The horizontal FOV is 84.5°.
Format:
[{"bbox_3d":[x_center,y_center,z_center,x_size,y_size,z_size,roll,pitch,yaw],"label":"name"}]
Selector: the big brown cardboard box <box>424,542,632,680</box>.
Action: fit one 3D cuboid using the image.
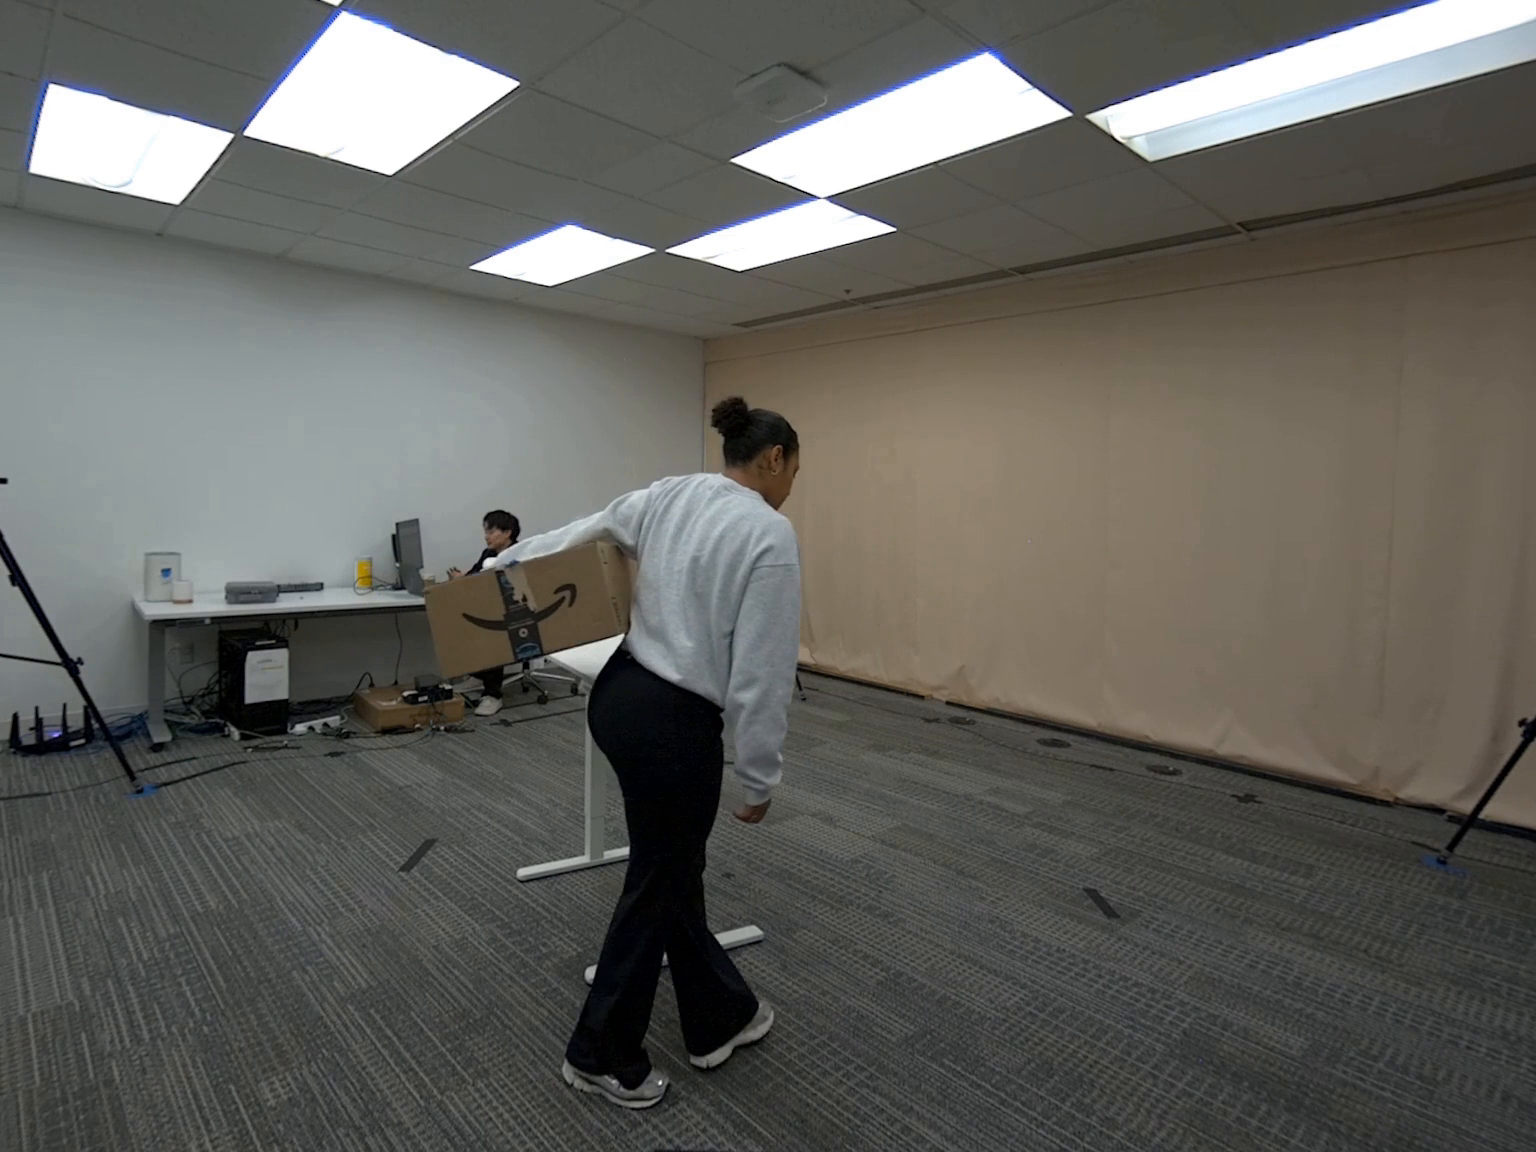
[{"bbox_3d":[-0.548,0.077,2.149,0.418,0.233,0.587,-14,0,3],"label":"big brown cardboard box"}]
